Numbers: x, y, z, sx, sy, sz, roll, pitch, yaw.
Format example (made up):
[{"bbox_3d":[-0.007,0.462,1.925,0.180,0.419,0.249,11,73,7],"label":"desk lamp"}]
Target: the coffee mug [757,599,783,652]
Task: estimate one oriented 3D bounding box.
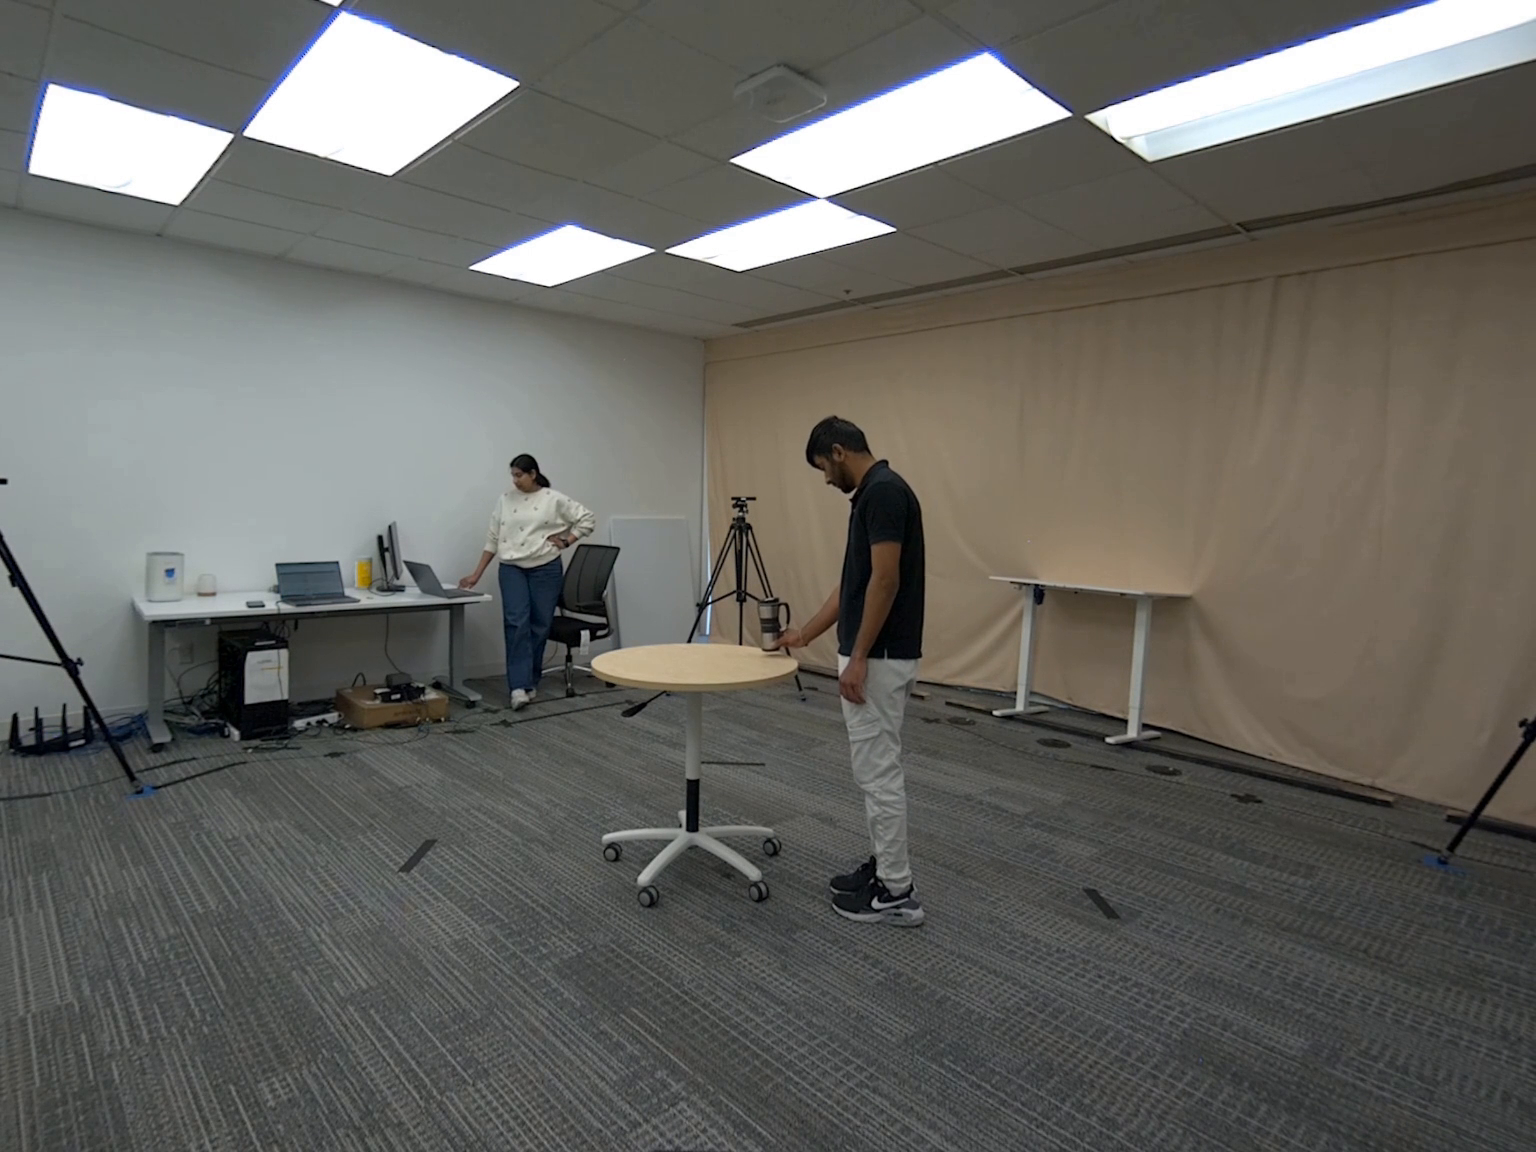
[{"bbox_3d":[0.012,0.186,3.238,0.124,0.203,0.086,-4,-1,33],"label":"coffee mug"}]
